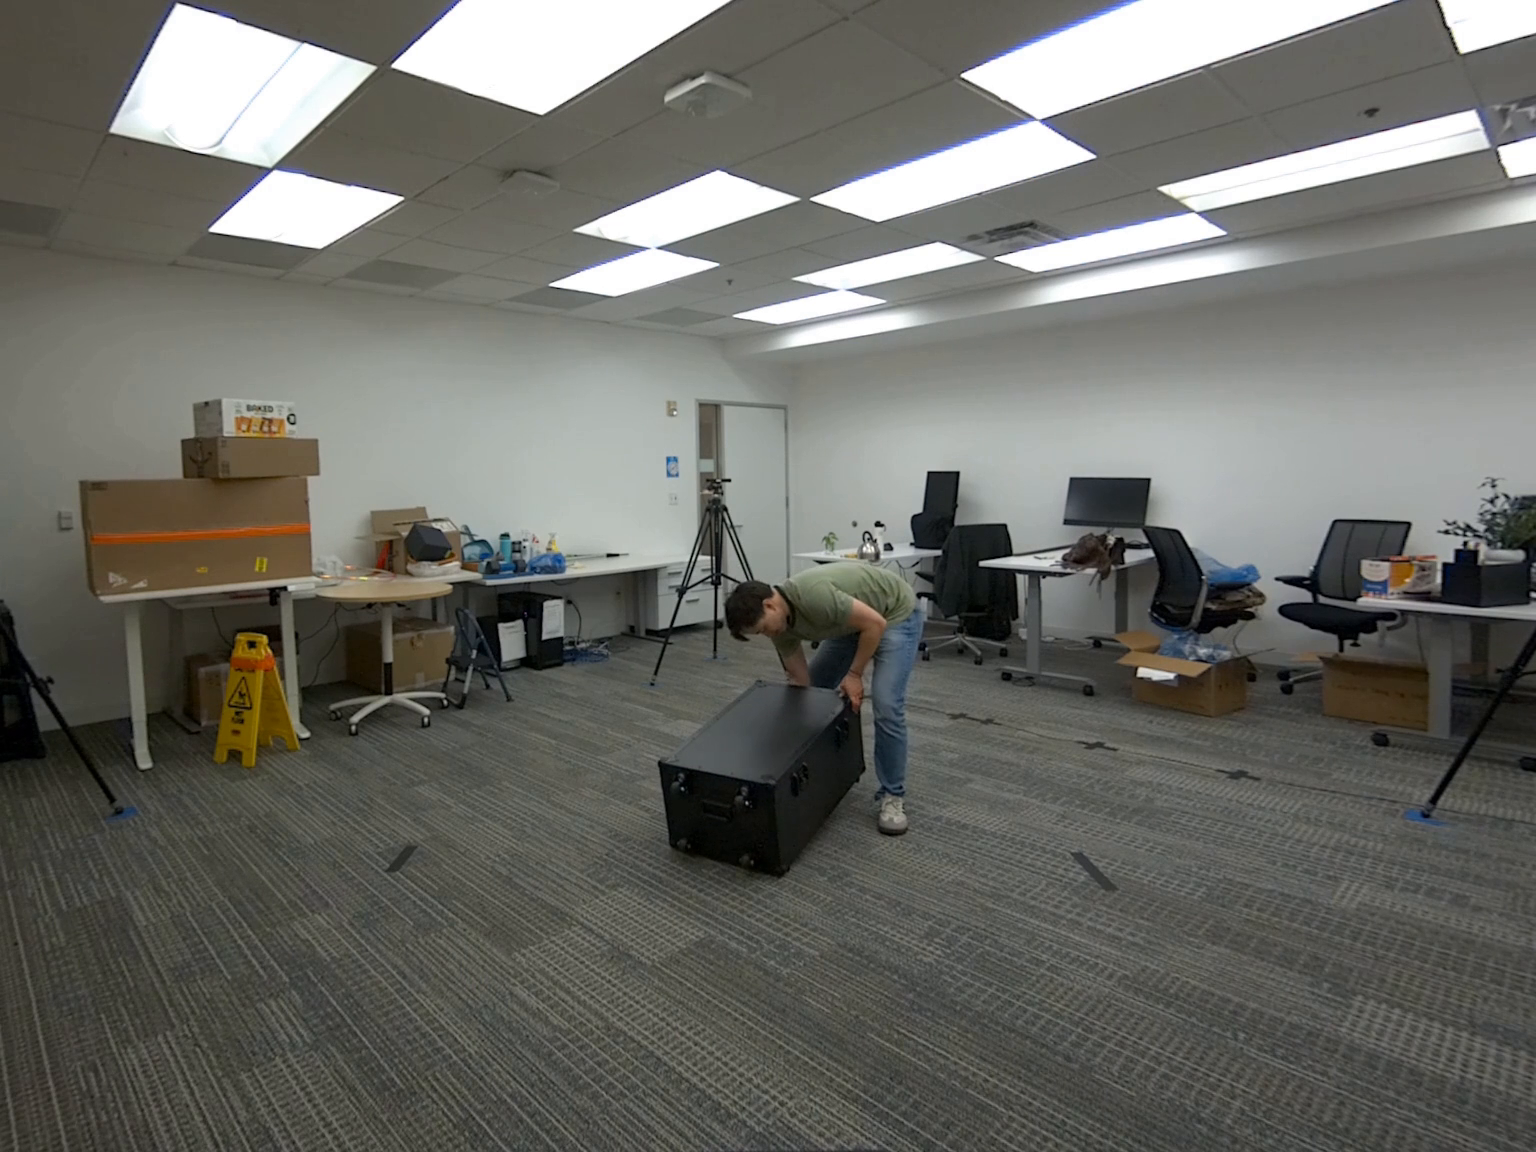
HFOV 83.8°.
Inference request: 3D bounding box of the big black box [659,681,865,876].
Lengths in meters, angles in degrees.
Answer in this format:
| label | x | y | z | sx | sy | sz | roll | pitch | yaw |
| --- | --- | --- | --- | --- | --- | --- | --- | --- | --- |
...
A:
| label | x | y | z | sx | sy | sz | roll | pitch | yaw |
| --- | --- | --- | --- | --- | --- | --- | --- | --- | --- |
| big black box | -0.029 | 0.781 | 3.352 | 0.534 | 0.391 | 0.852 | 2 | 15 | 26 |
